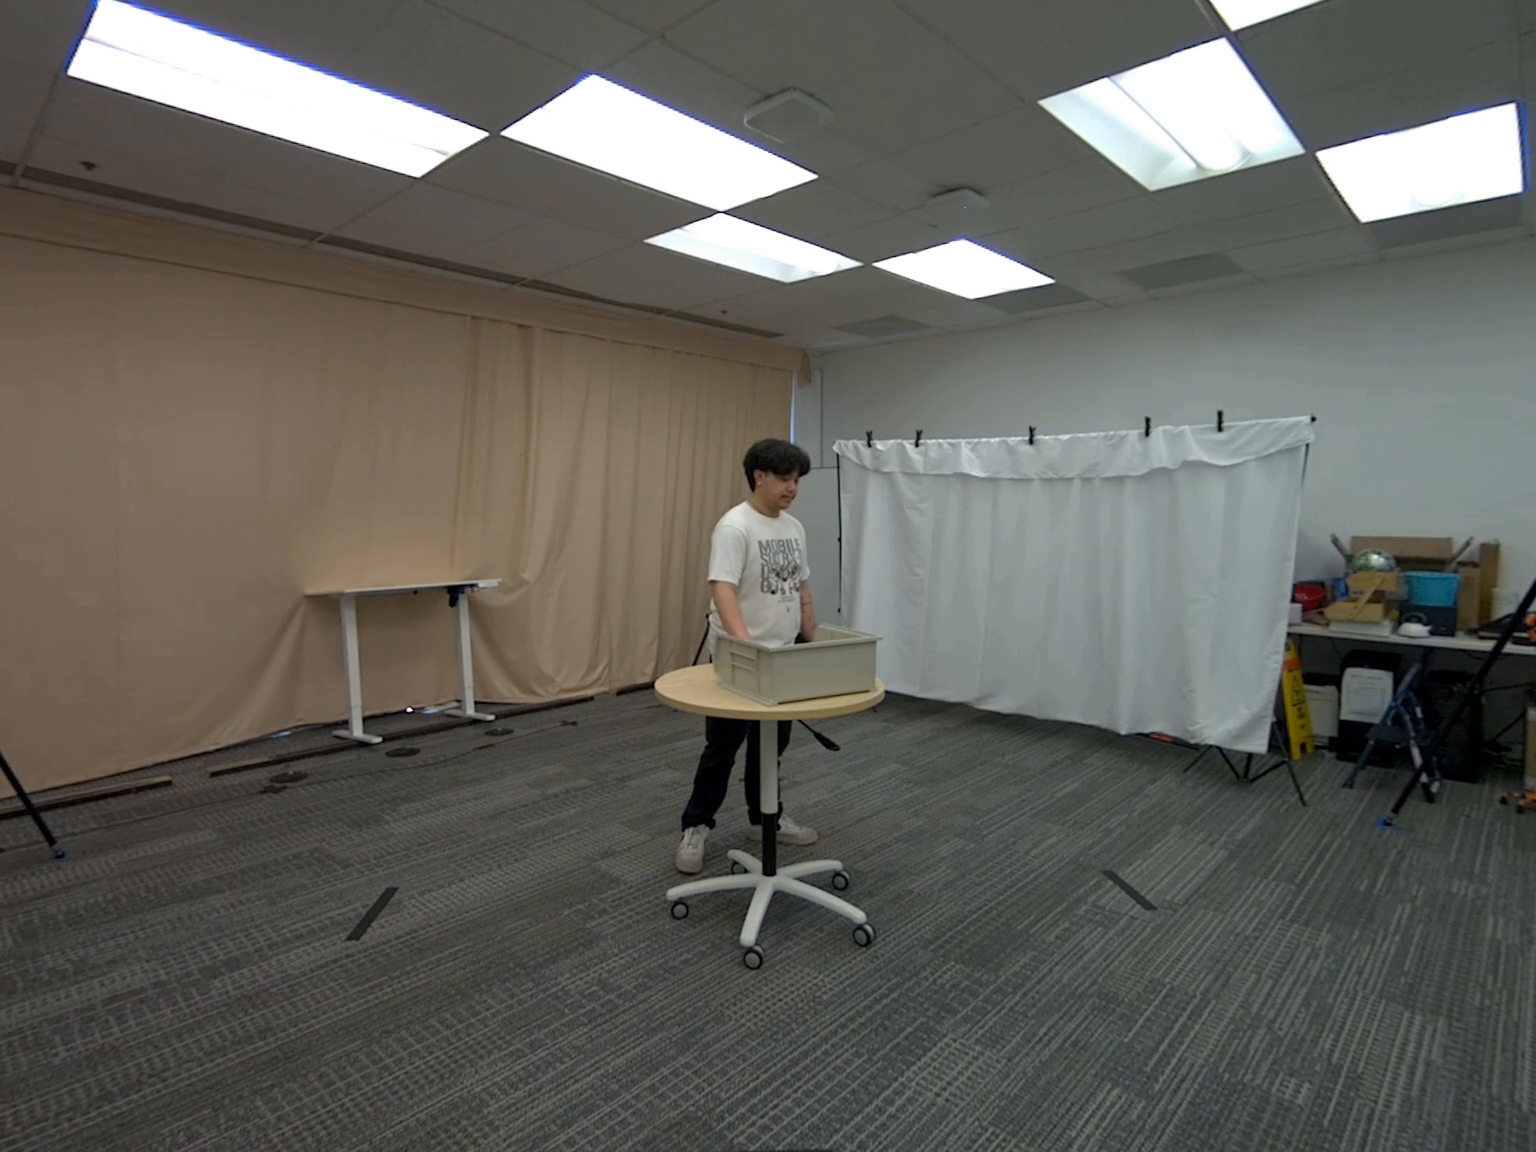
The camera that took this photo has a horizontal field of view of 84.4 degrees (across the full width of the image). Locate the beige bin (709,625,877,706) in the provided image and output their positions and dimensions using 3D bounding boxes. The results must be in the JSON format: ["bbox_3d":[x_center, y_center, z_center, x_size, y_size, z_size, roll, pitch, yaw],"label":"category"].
[{"bbox_3d":[0.086,0.278,2.748,0.411,0.188,0.389,-3,6,-30],"label":"beige bin"}]
